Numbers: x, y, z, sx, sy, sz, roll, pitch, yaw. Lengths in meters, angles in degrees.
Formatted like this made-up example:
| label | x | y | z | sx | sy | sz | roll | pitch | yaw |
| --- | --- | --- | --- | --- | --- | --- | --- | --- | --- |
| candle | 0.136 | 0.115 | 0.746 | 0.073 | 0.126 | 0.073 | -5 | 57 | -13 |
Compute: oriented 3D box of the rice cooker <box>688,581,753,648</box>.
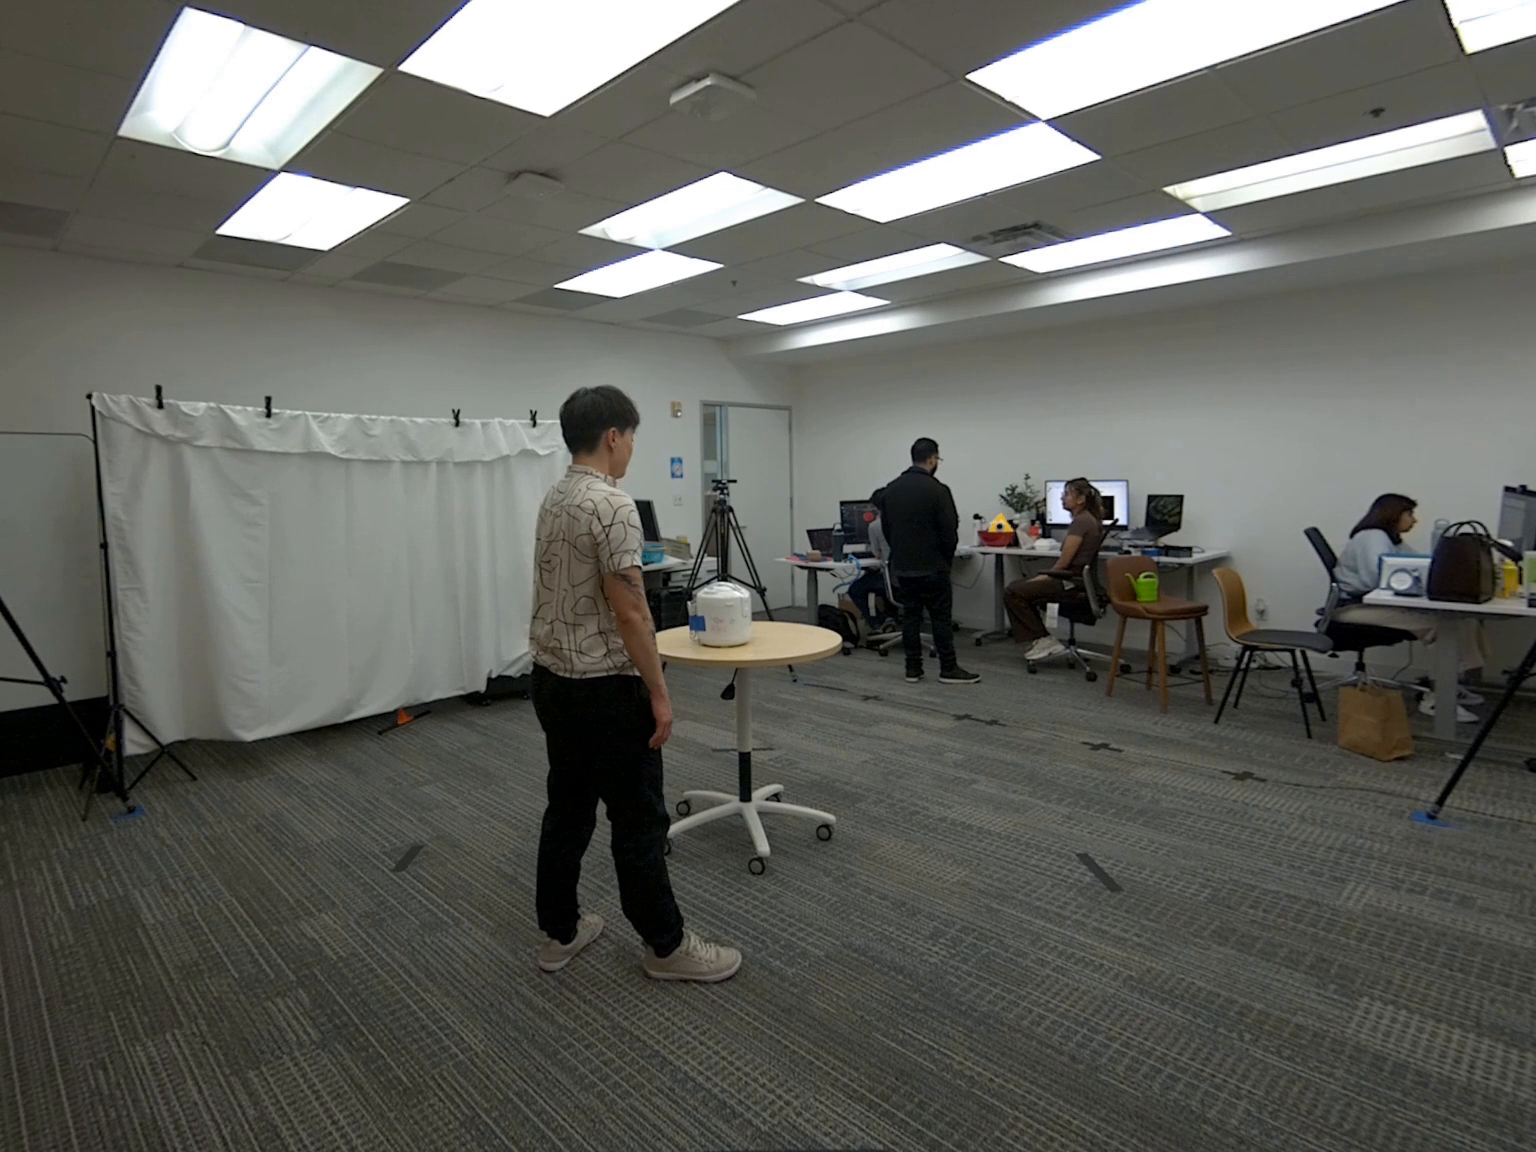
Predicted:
| label | x | y | z | sx | sy | sz | roll | pitch | yaw |
| --- | --- | --- | --- | --- | --- | --- | --- | --- | --- |
| rice cooker | -0.166 | 0.139 | 3.228 | 0.227 | 0.232 | 0.212 | 3 | 7 | 38 |
